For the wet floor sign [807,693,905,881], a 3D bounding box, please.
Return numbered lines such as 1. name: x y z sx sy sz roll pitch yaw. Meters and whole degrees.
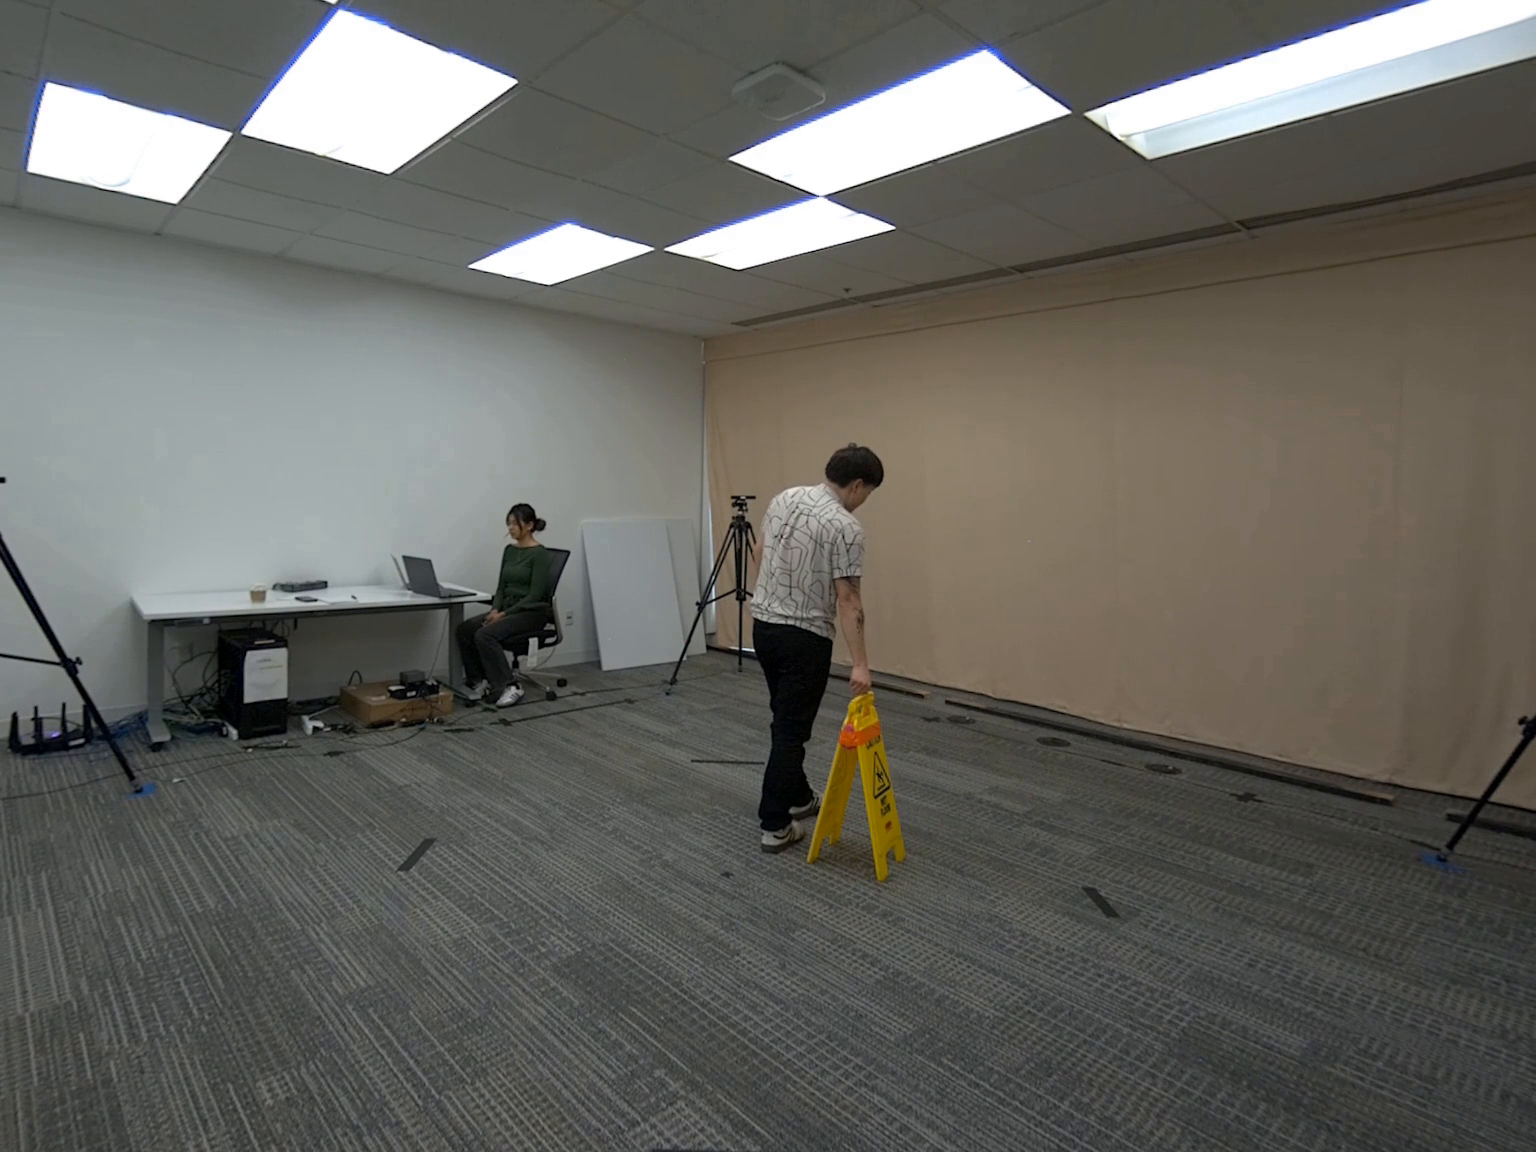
1. wet floor sign: 0.342 0.776 3.243 0.296 0.645 0.277 2 2 29
